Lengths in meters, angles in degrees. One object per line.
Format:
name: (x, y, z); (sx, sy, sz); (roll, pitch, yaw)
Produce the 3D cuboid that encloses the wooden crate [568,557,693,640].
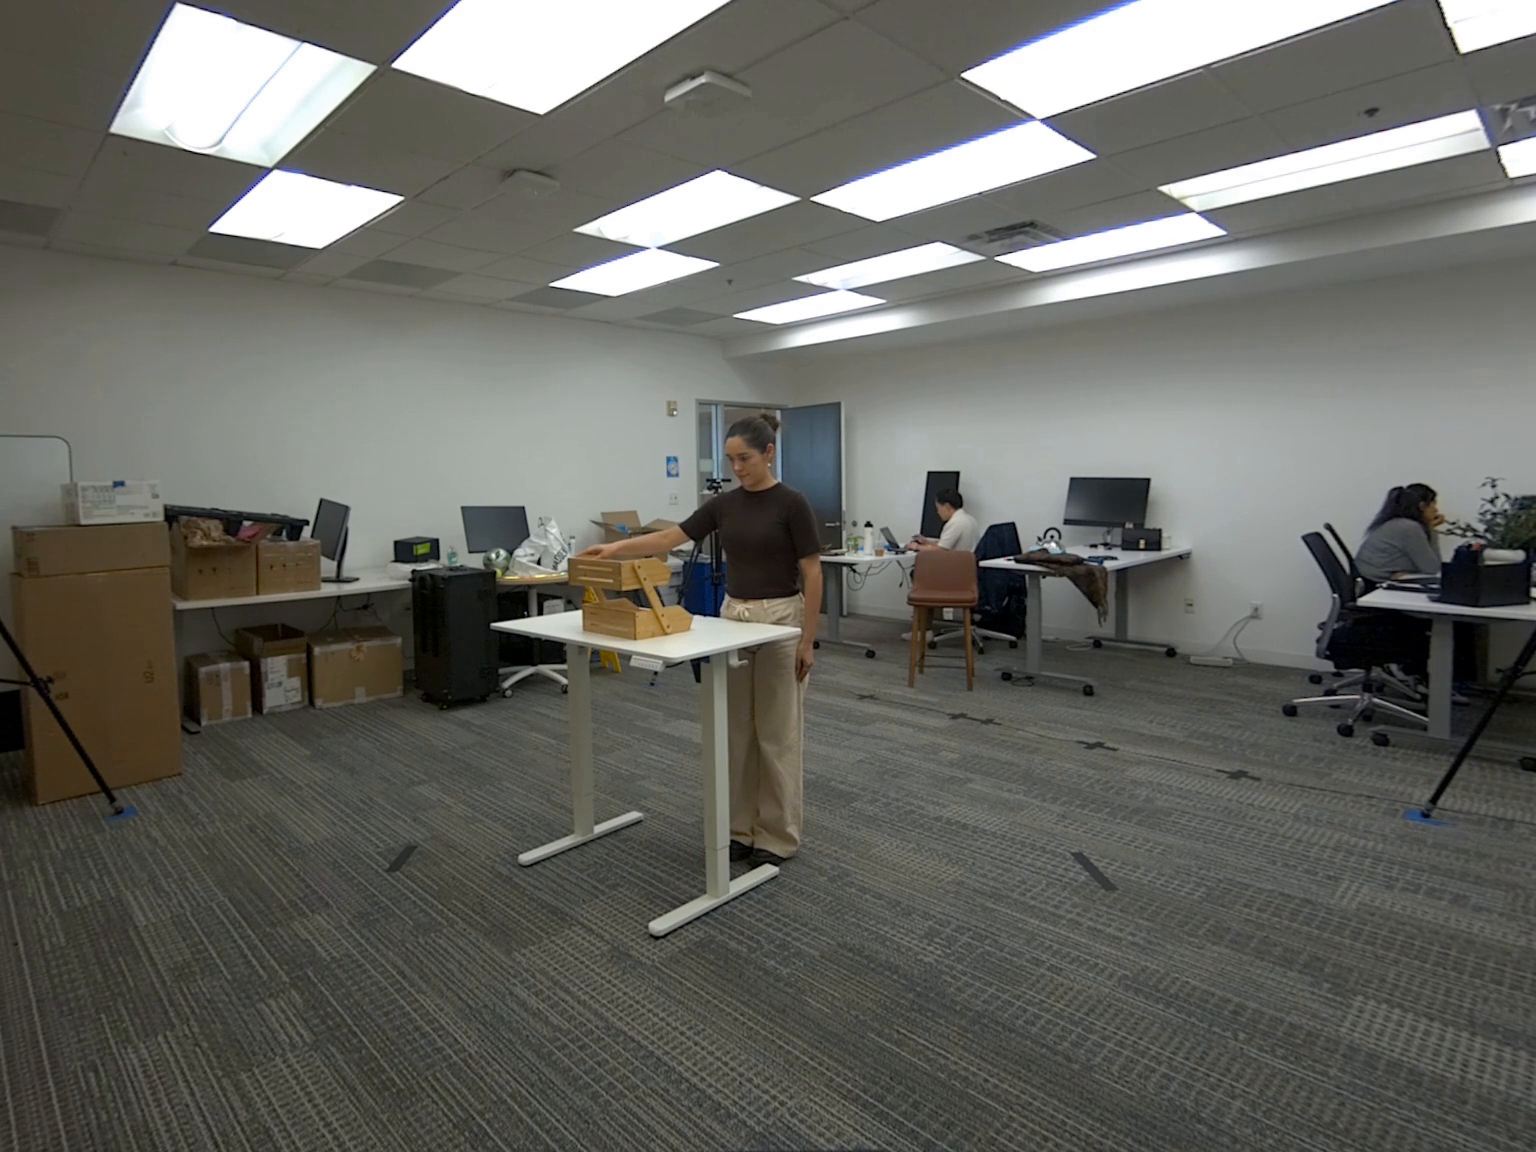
wooden crate: (-0.467, 0.059, 2.920); (0.334, 0.272, 0.294); (3, 8, 45)
